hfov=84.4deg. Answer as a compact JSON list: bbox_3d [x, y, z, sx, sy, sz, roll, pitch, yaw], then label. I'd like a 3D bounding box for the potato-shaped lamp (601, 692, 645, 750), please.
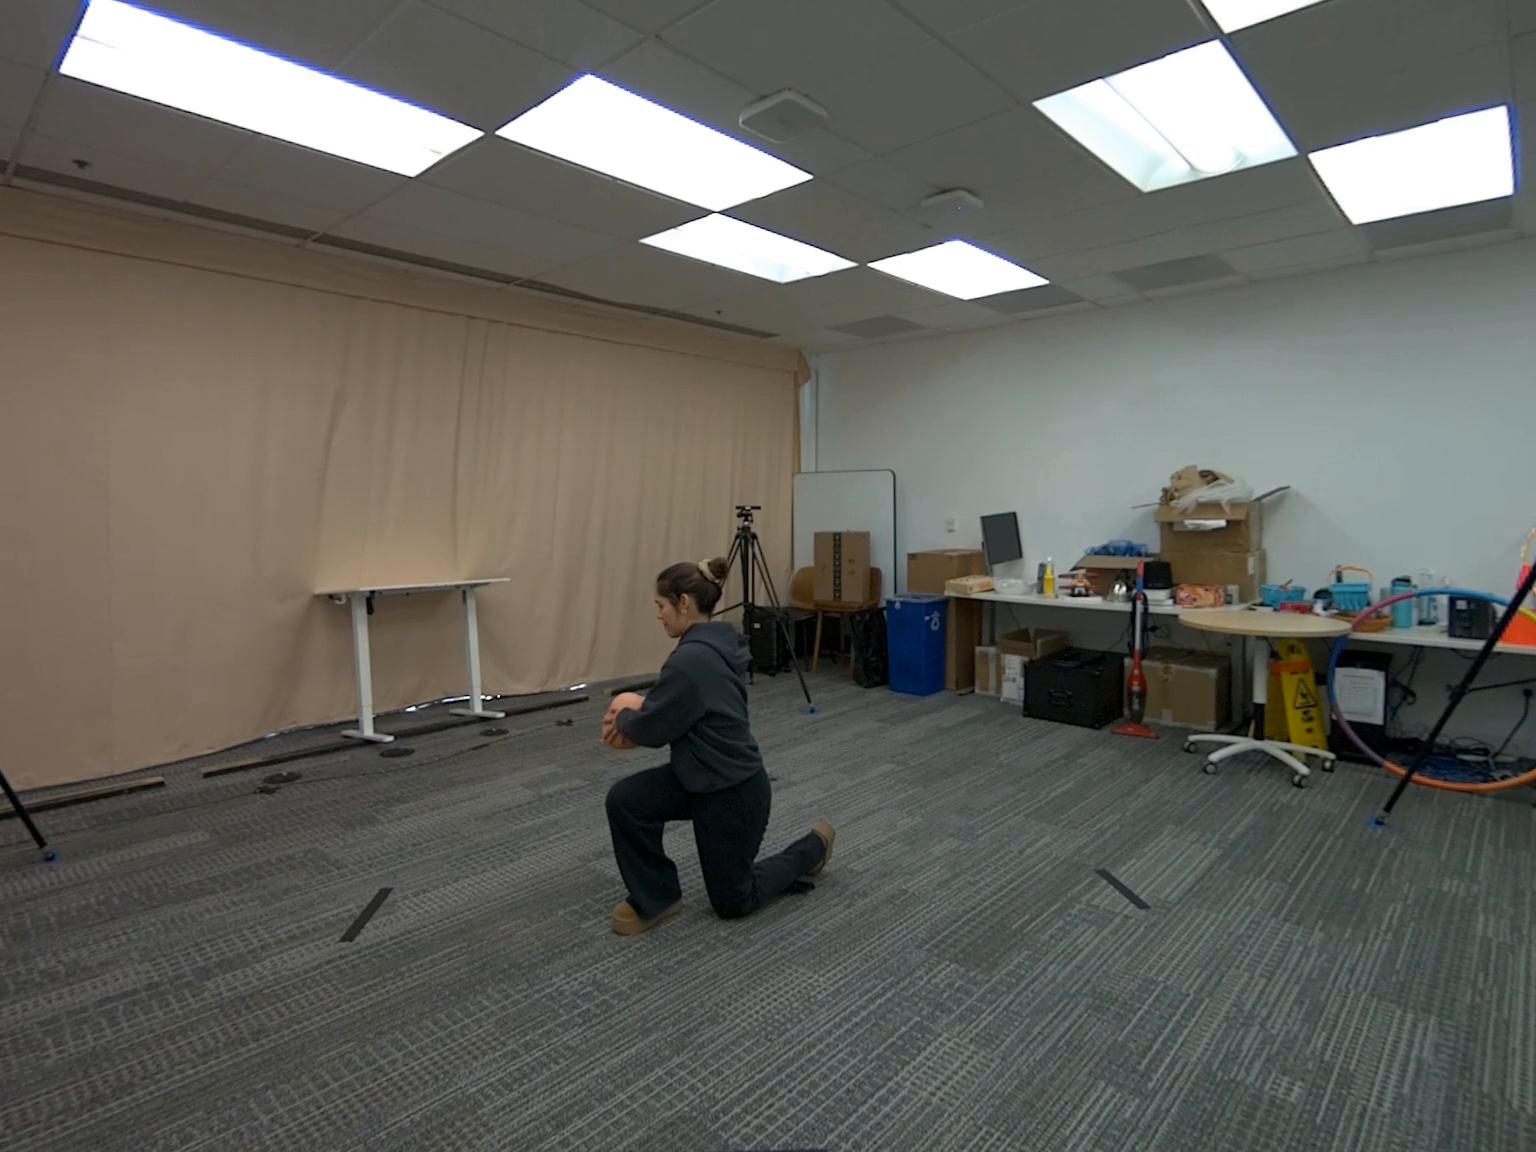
[{"bbox_3d":[-0.491,0.533,3.063,0.177,0.197,0.160,6,6,34],"label":"potato-shaped lamp"}]
